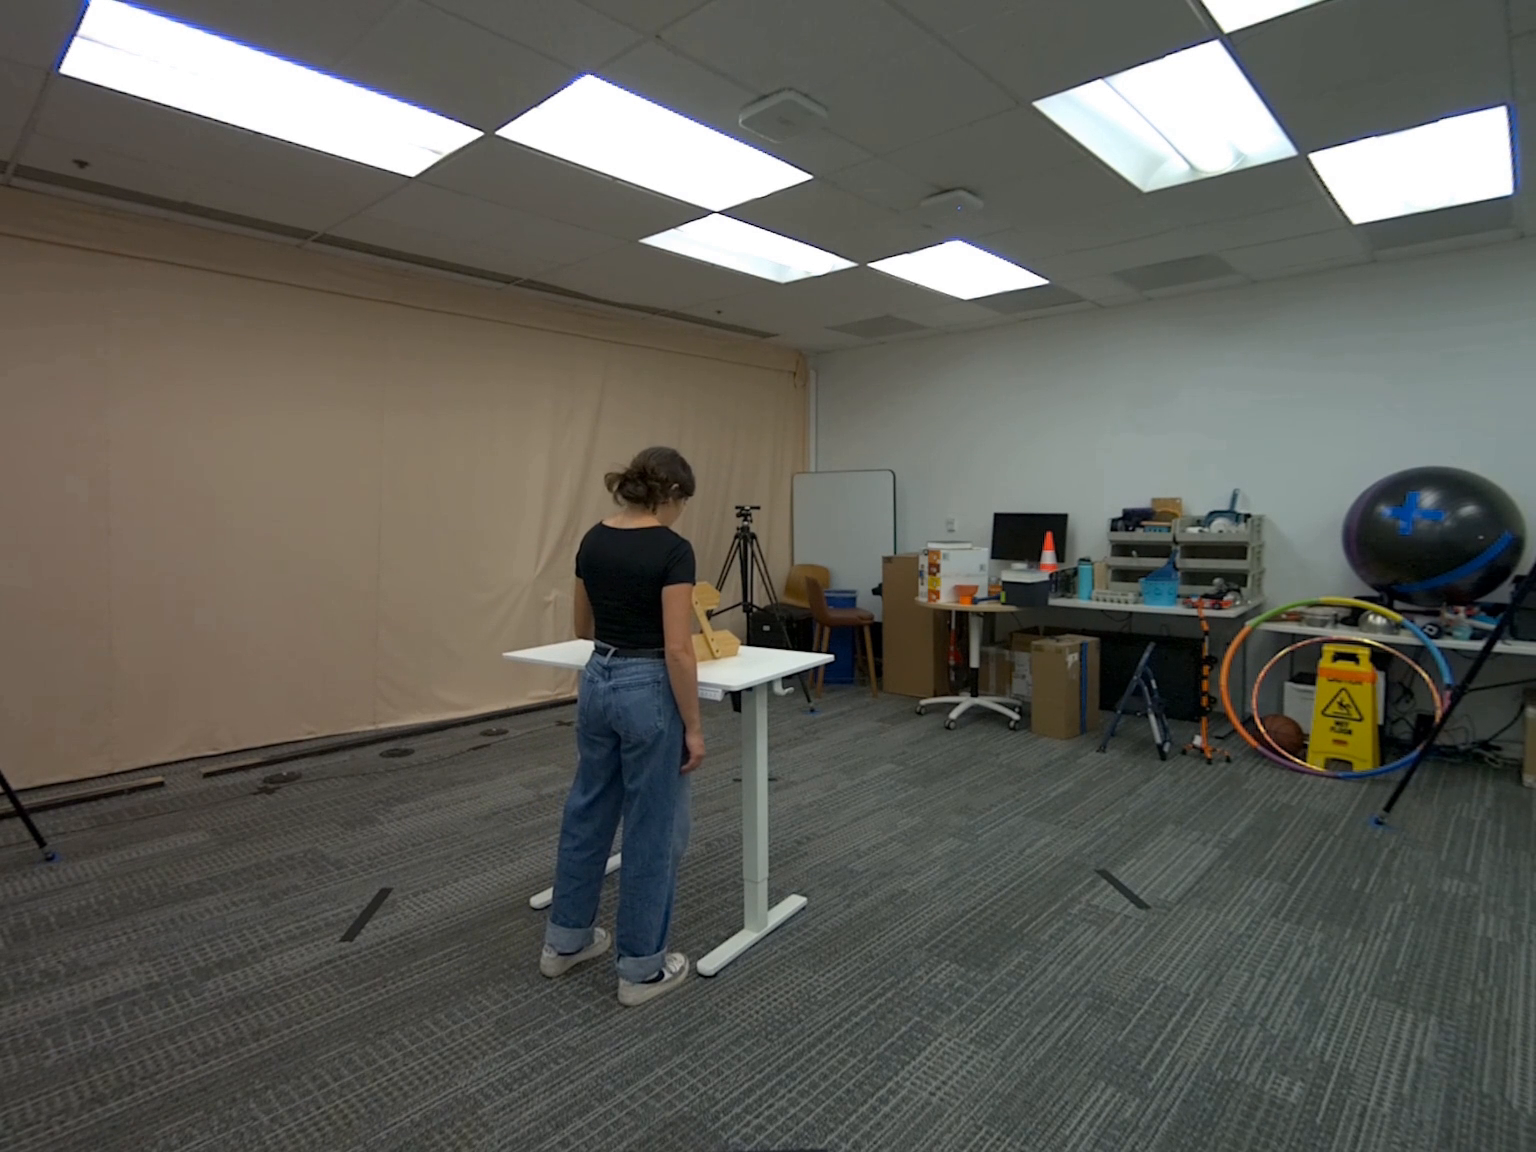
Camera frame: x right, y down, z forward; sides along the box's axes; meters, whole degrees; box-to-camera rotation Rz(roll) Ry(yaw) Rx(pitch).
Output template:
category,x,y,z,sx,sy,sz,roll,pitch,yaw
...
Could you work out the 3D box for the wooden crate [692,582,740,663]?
category,x,y,z,sx,sy,sz,roll,pitch,yaw
wooden crate,-0.302,0.139,2.881,0.335,0.273,0.293,2,5,44
